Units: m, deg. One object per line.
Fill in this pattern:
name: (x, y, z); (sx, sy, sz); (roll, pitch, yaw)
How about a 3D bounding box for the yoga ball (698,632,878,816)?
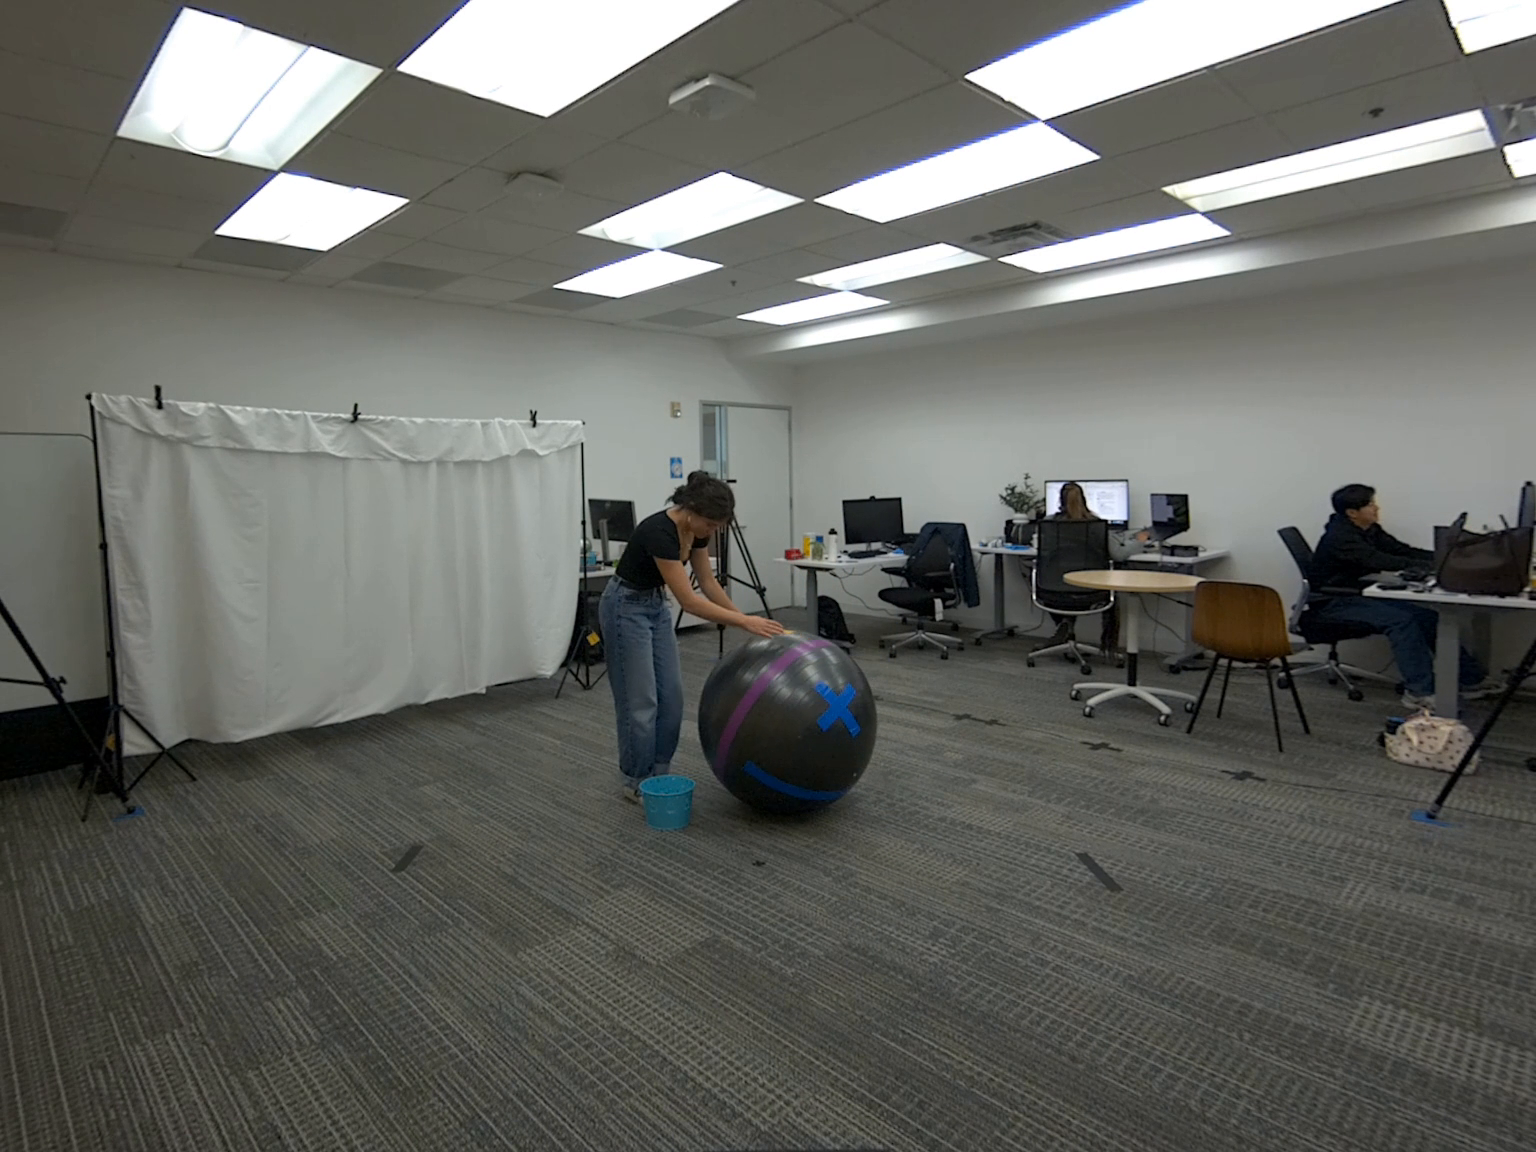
yoga ball: (0.078, 0.614, 3.621); (0.757, 0.755, 0.762); (-1, 5, -2)
